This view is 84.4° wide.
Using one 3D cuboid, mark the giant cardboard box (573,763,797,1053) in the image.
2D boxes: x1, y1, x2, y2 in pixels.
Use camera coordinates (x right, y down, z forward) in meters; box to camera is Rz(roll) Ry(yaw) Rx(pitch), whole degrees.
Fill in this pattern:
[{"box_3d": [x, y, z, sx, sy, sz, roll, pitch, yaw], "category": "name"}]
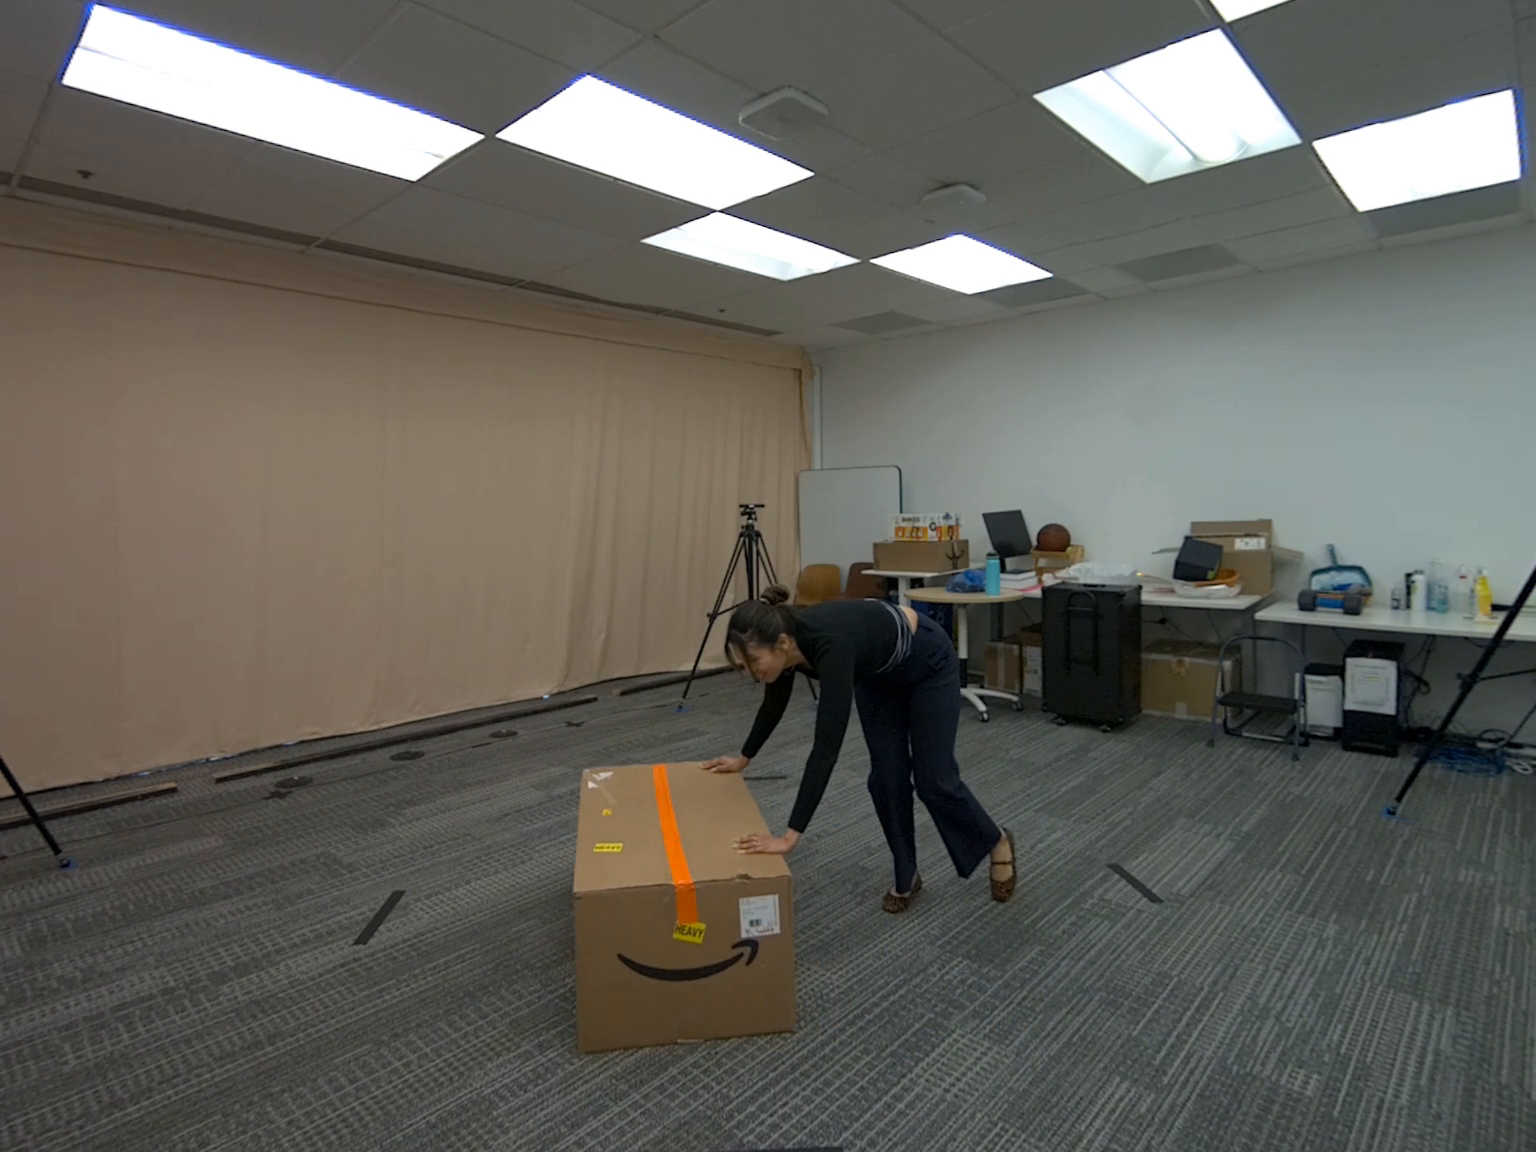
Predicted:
[{"box_3d": [-0.304, 0.956, 2.672, 0.572, 0.425, 1.039, -1, 5, -11], "category": "giant cardboard box"}]
